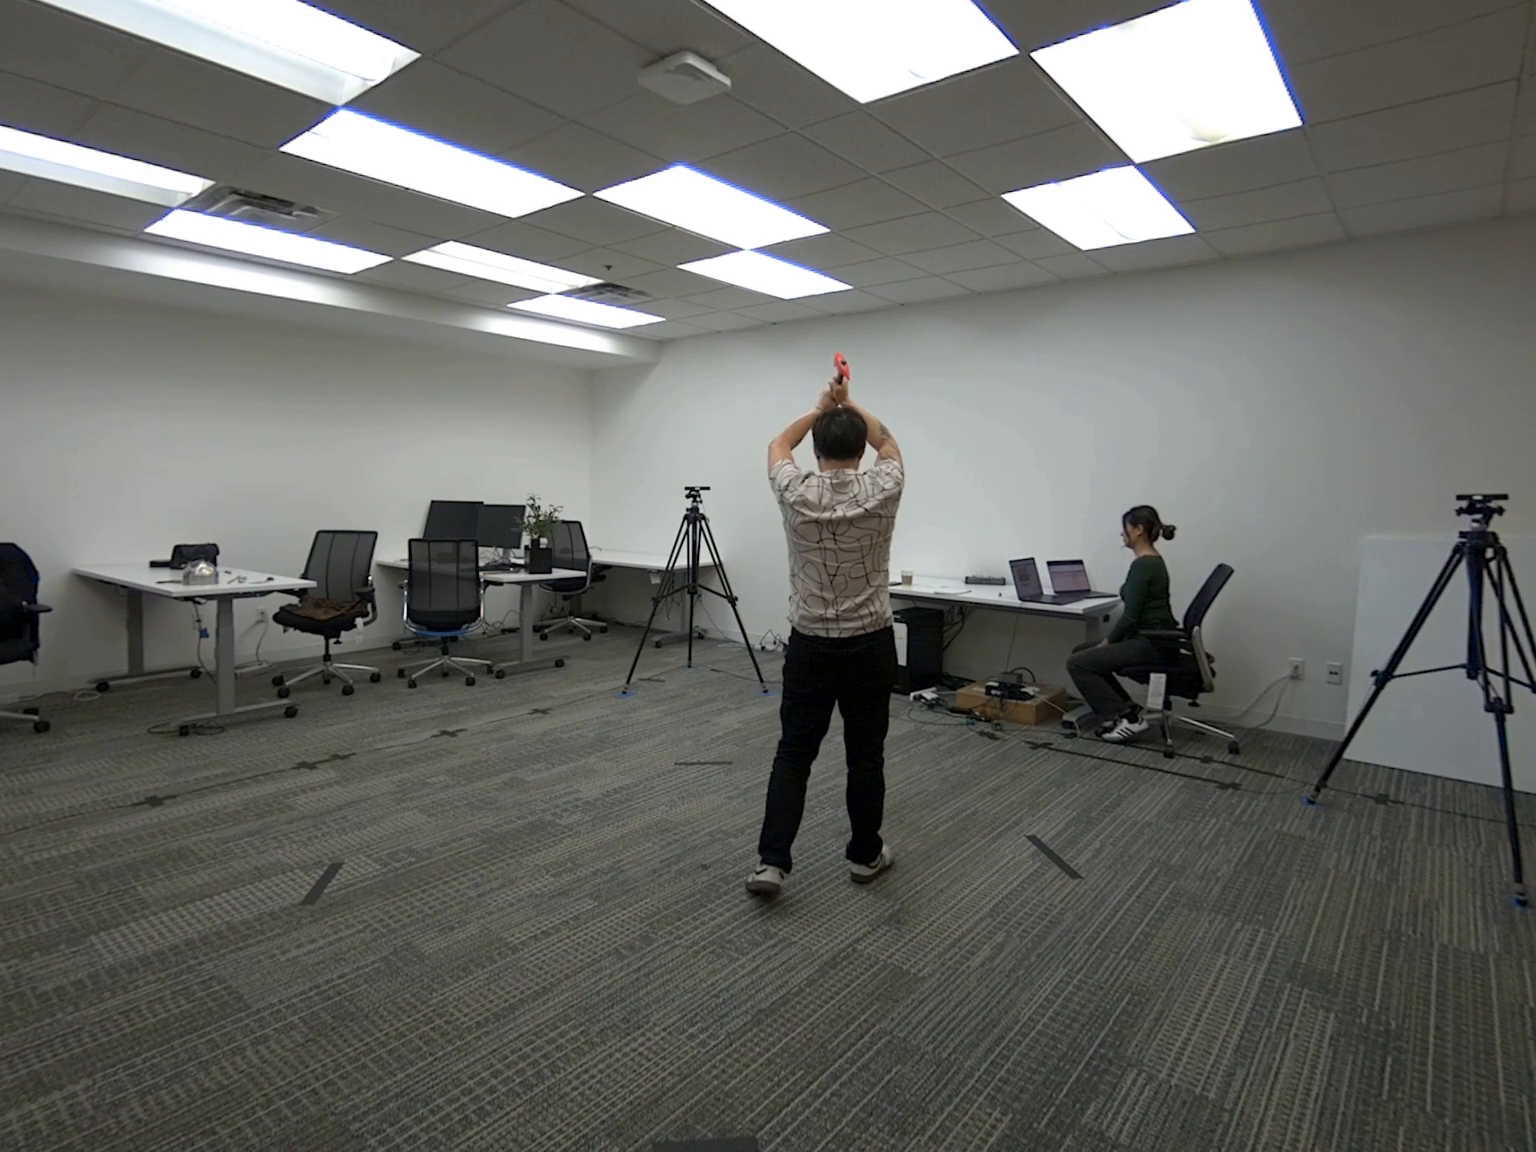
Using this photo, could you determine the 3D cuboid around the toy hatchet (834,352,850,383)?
[{"bbox_3d":[0.236,-0.736,3.148,0.029,0.132,0.269,-15,-7,-12],"label":"toy hatchet"}]
